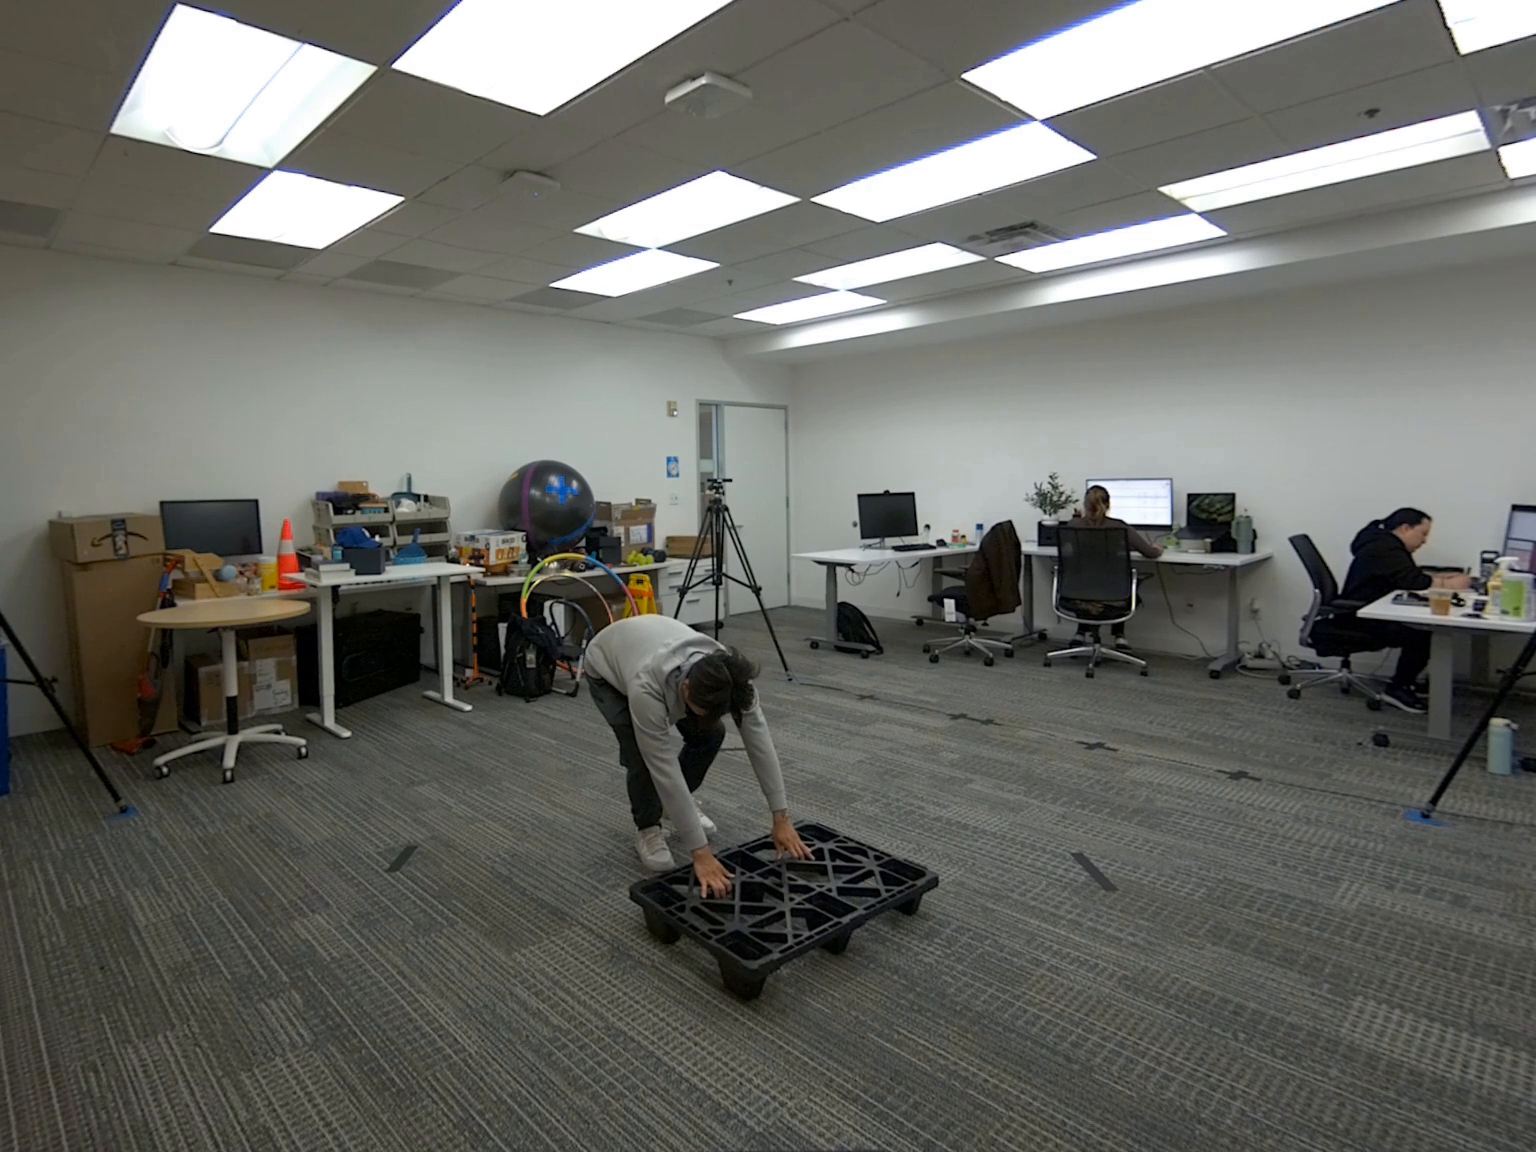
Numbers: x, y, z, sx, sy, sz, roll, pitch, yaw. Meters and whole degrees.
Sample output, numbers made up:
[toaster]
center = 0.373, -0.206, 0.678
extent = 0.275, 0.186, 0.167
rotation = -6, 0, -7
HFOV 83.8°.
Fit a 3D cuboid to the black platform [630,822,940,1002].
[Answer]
[black platform]
center = 0.055, 1.025, 2.690
extent = 0.785, 0.142, 0.624
rotation = -7, 8, -40
